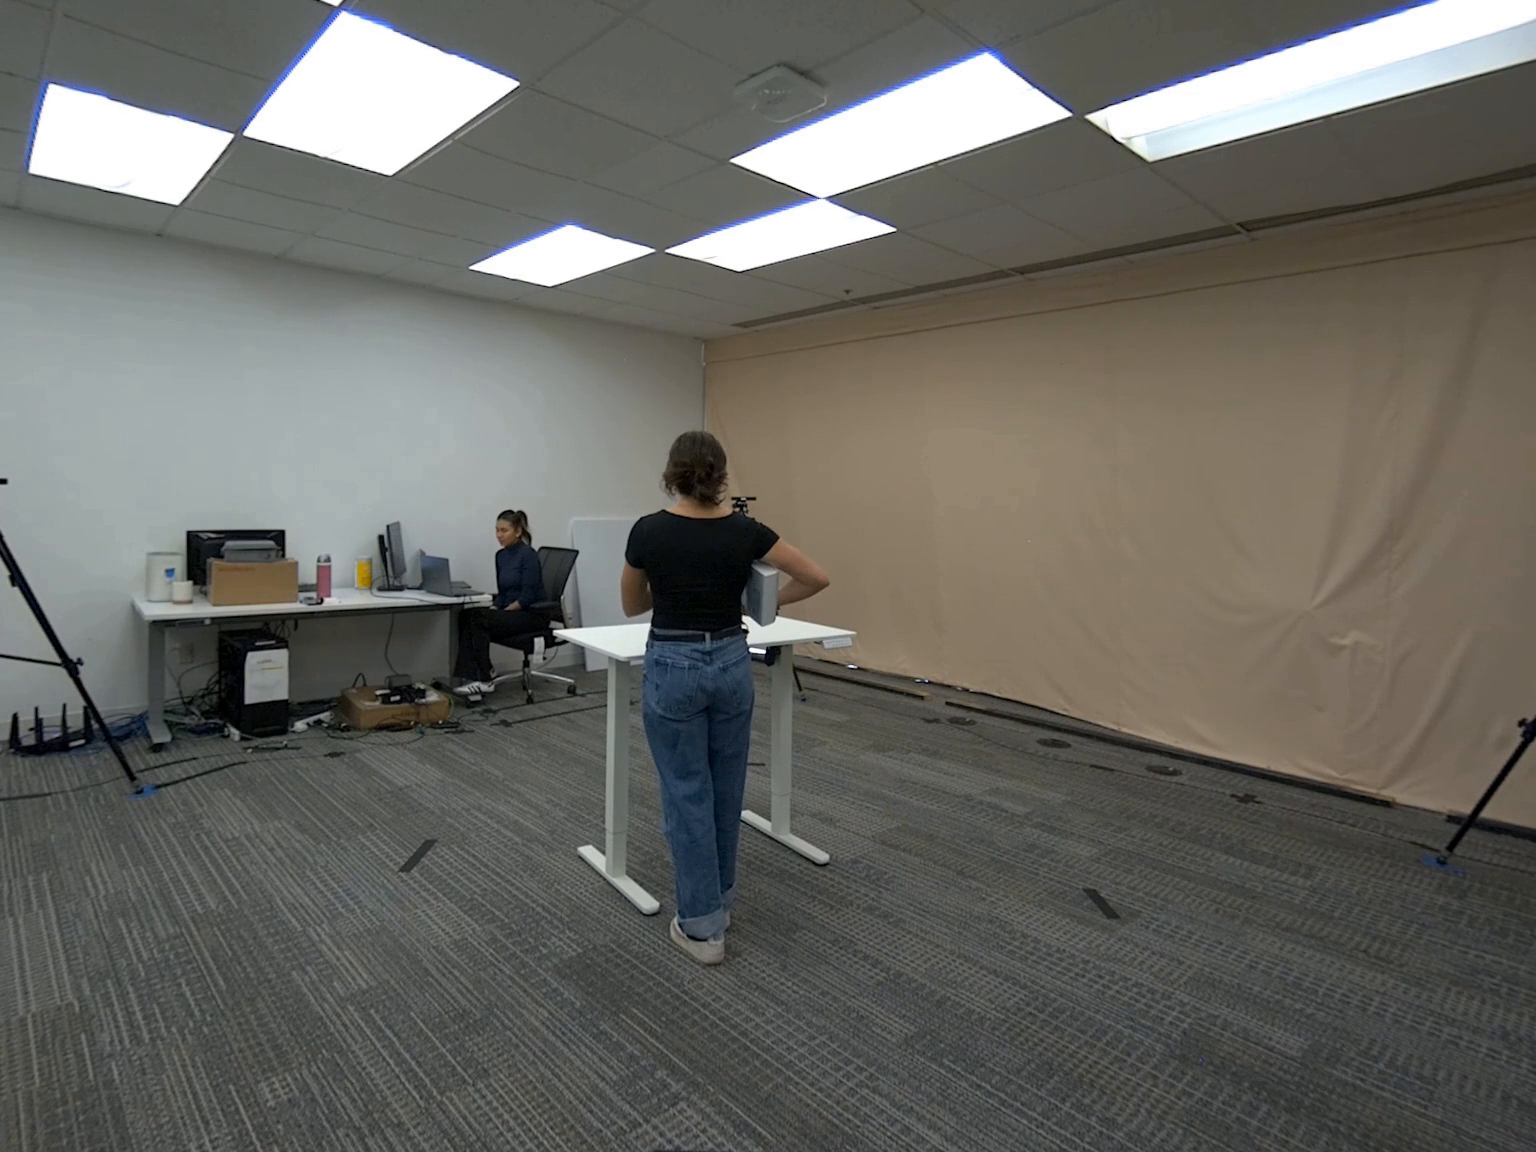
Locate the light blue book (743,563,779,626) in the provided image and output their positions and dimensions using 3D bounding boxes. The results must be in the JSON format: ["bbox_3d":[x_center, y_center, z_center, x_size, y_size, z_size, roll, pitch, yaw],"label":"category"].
[{"bbox_3d":[-0.076,0.016,2.655,0.058,0.188,0.269,-14,33,-30],"label":"light blue book"}]
